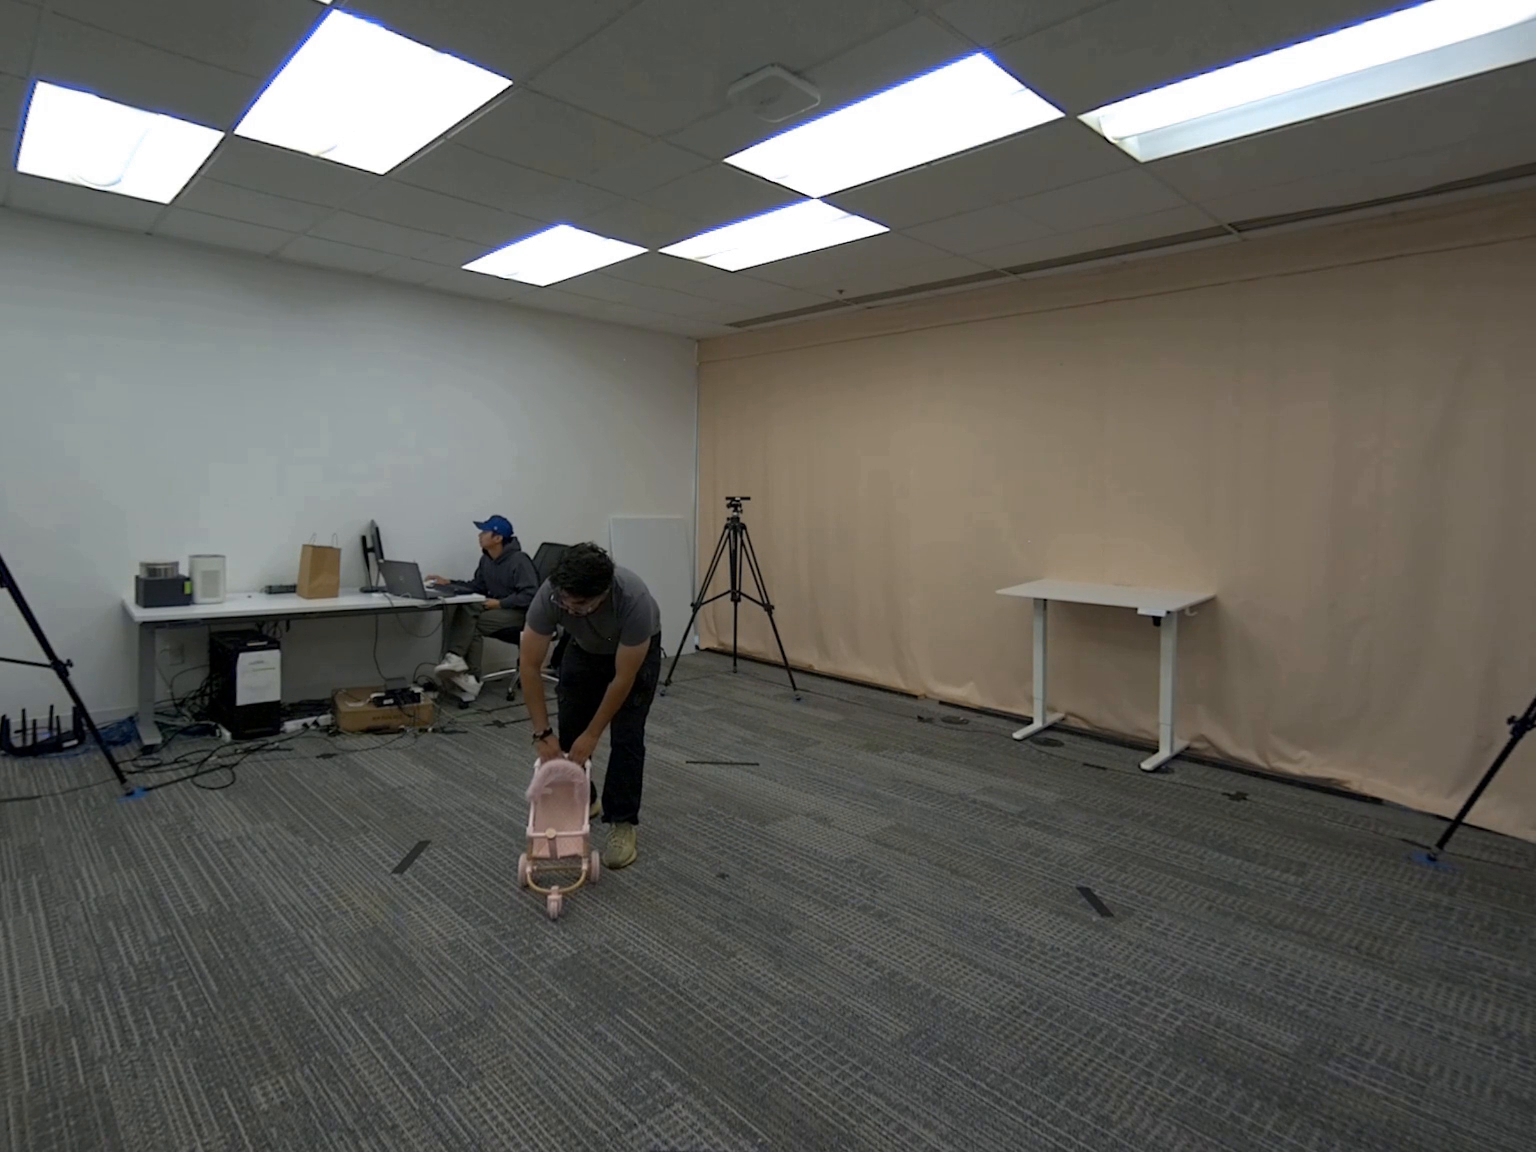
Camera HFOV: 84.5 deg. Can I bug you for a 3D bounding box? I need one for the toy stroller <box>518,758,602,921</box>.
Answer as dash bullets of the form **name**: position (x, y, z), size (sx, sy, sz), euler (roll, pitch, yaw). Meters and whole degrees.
- **toy stroller**: position (-0.733, 0.880, 2.945), size (0.280, 0.540, 0.339), euler (1, -13, -6)
